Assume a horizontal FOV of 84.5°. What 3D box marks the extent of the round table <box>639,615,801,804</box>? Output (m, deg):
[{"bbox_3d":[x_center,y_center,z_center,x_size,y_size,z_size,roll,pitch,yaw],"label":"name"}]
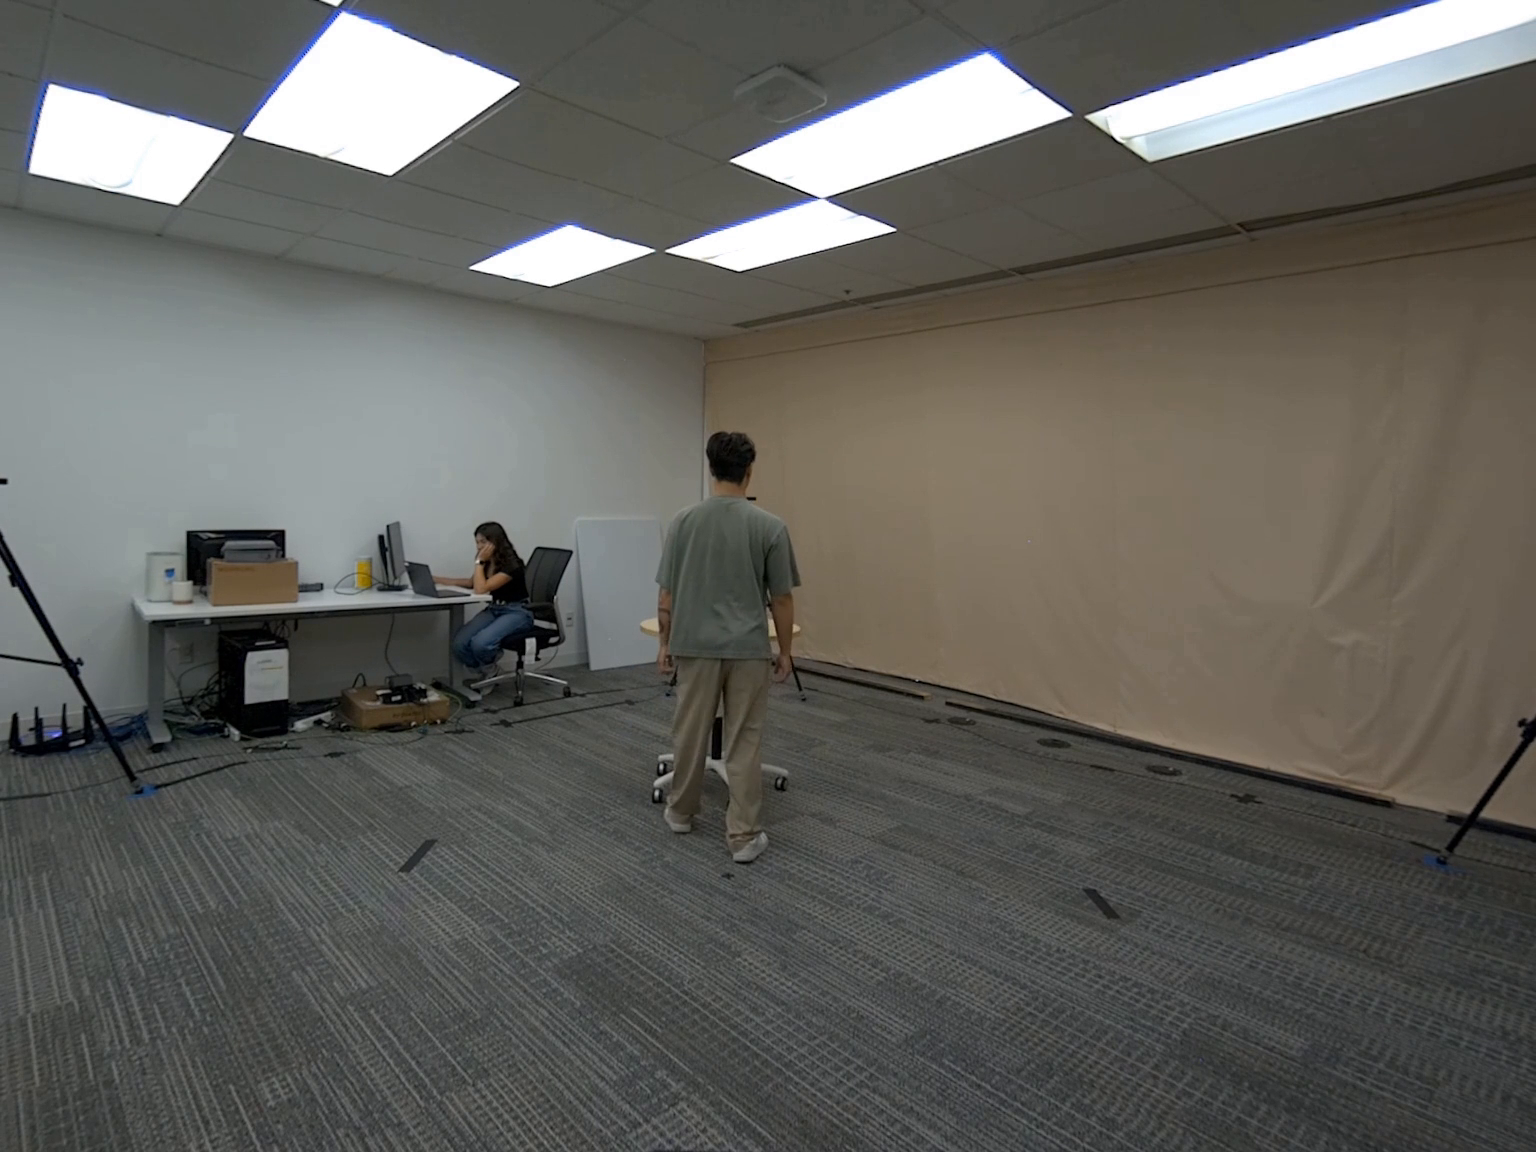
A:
[{"bbox_3d":[-0.239,0.632,4.050,0.784,0.785,0.787,1,3,-1],"label":"round table"}]
